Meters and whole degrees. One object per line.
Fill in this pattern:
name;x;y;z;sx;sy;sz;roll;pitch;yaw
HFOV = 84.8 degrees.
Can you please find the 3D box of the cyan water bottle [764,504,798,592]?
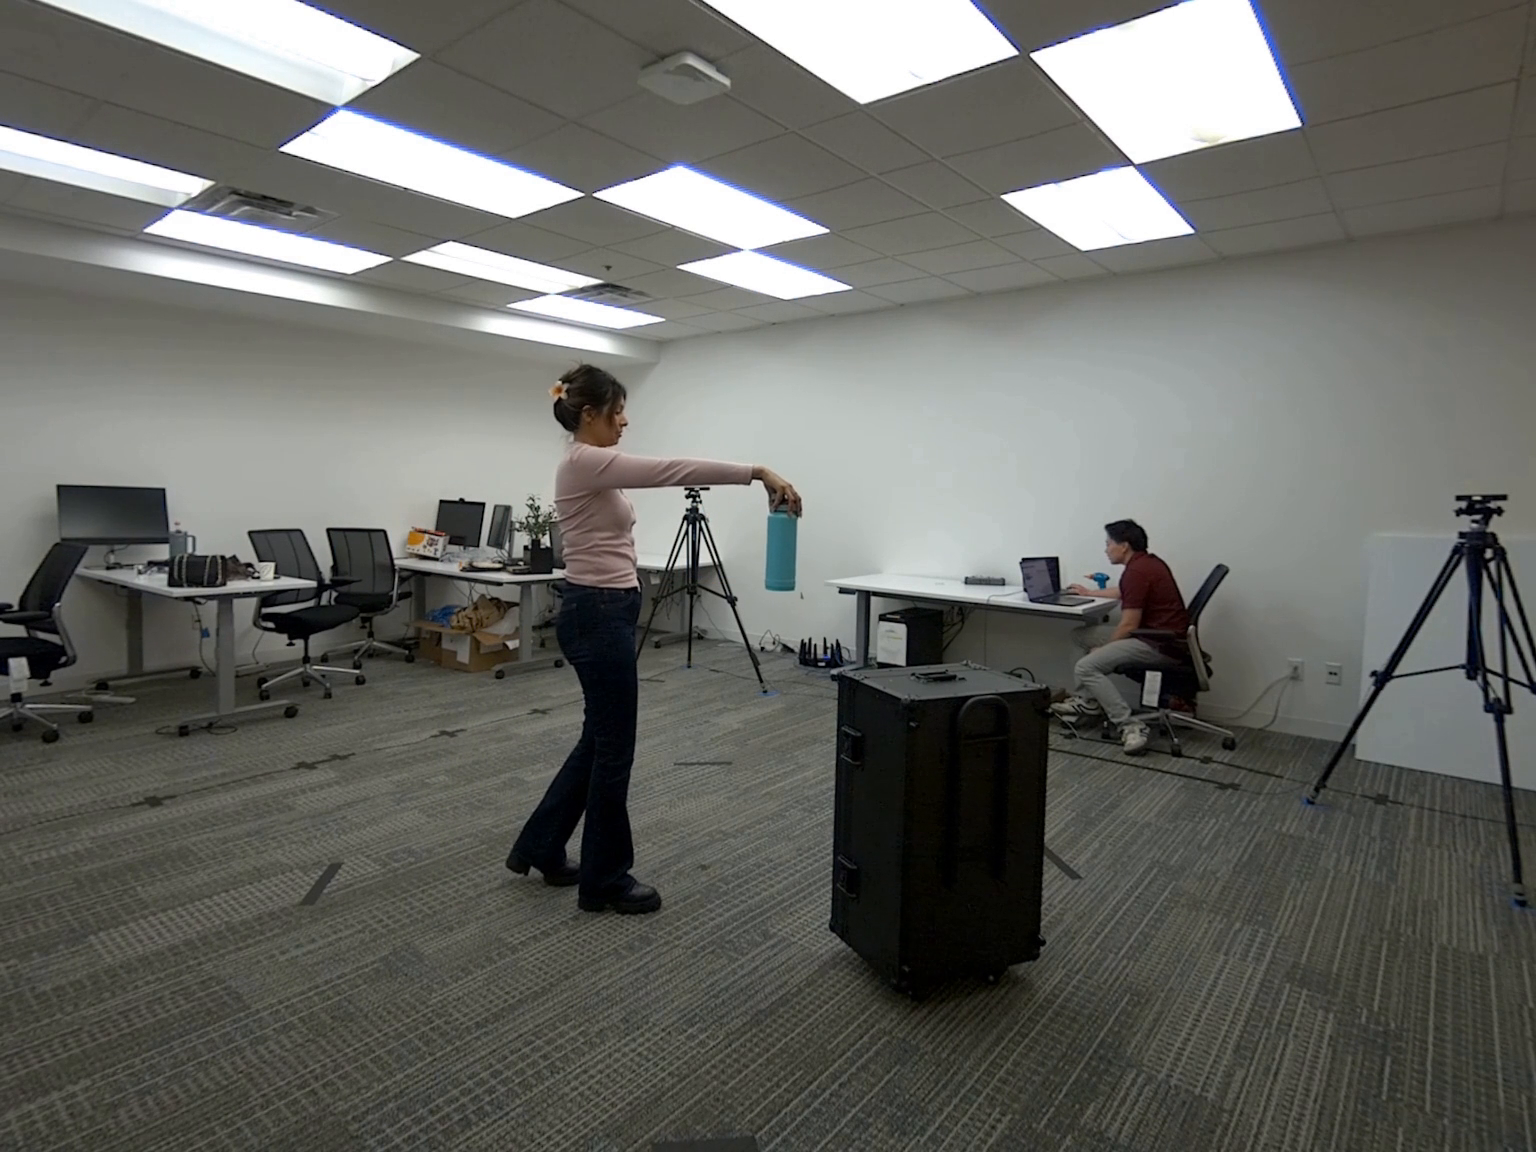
cyan water bottle;0.033;-0.103;2.510;0.092;0.283;0.092;2;2;-2
